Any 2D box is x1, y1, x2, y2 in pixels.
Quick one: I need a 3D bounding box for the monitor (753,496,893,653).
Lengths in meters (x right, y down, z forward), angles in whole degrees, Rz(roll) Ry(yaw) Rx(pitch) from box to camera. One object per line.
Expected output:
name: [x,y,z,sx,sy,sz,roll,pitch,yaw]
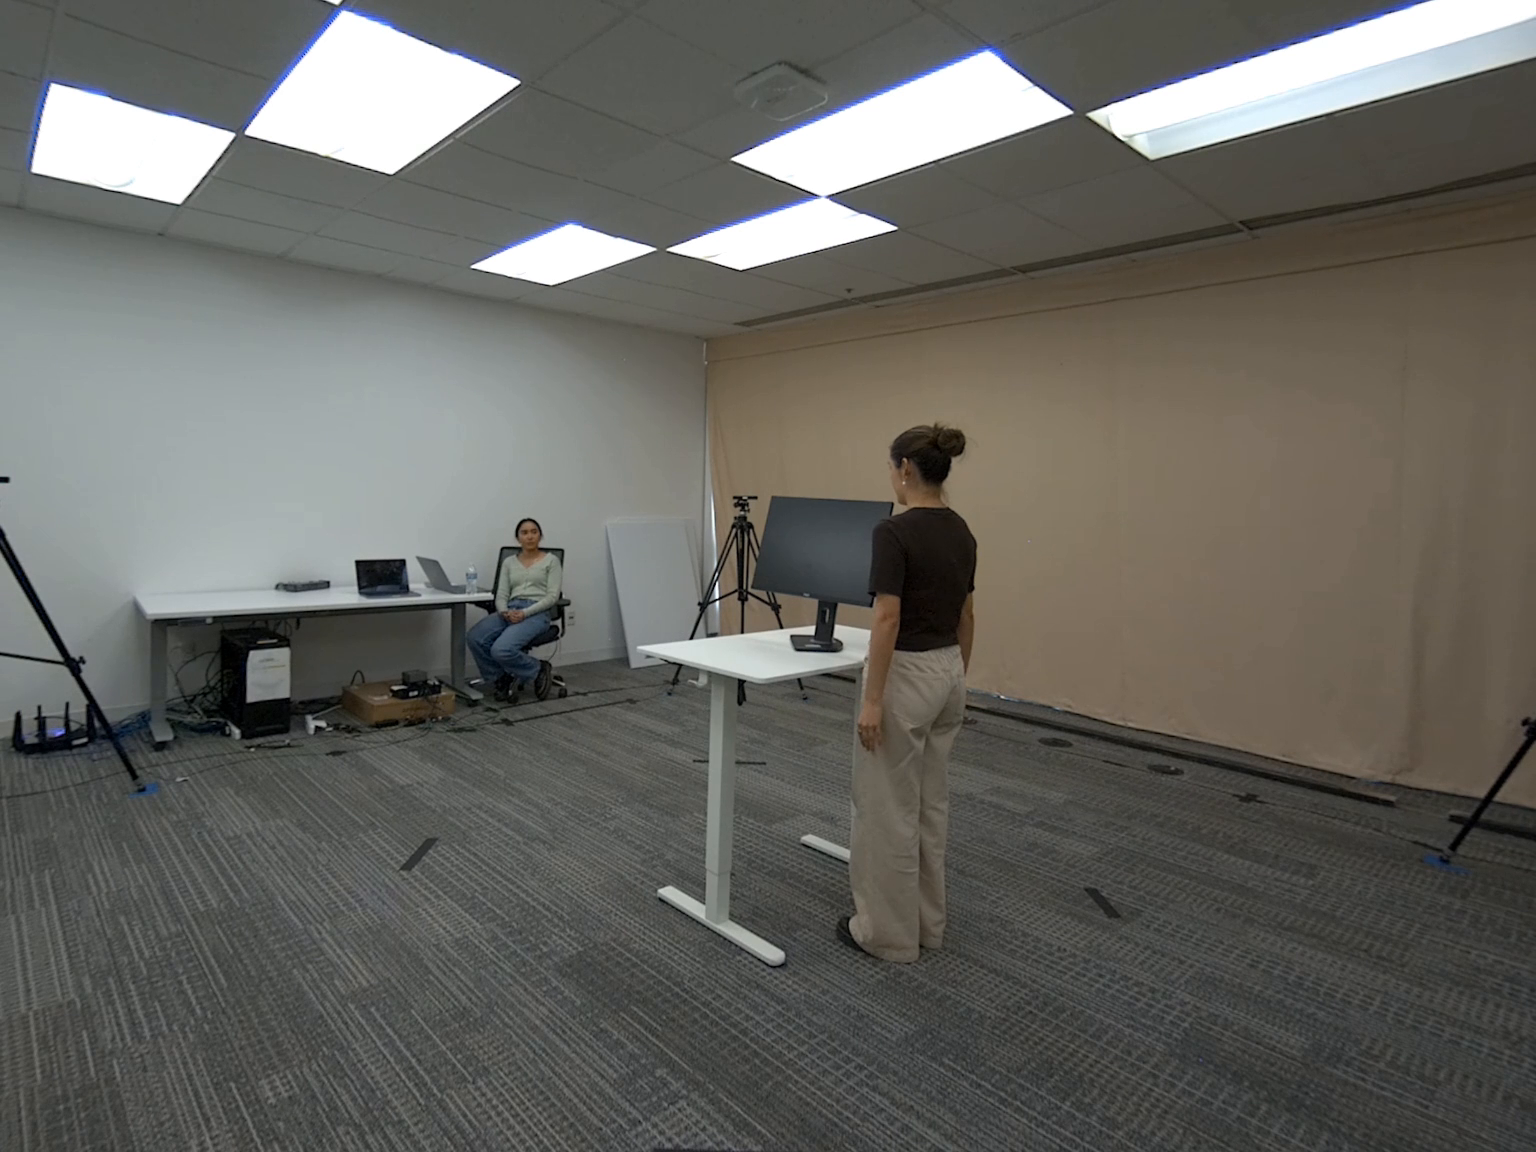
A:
monitor: [0.188,-0.006,2.915,0.553,0.521,0.183,7,7,40]
